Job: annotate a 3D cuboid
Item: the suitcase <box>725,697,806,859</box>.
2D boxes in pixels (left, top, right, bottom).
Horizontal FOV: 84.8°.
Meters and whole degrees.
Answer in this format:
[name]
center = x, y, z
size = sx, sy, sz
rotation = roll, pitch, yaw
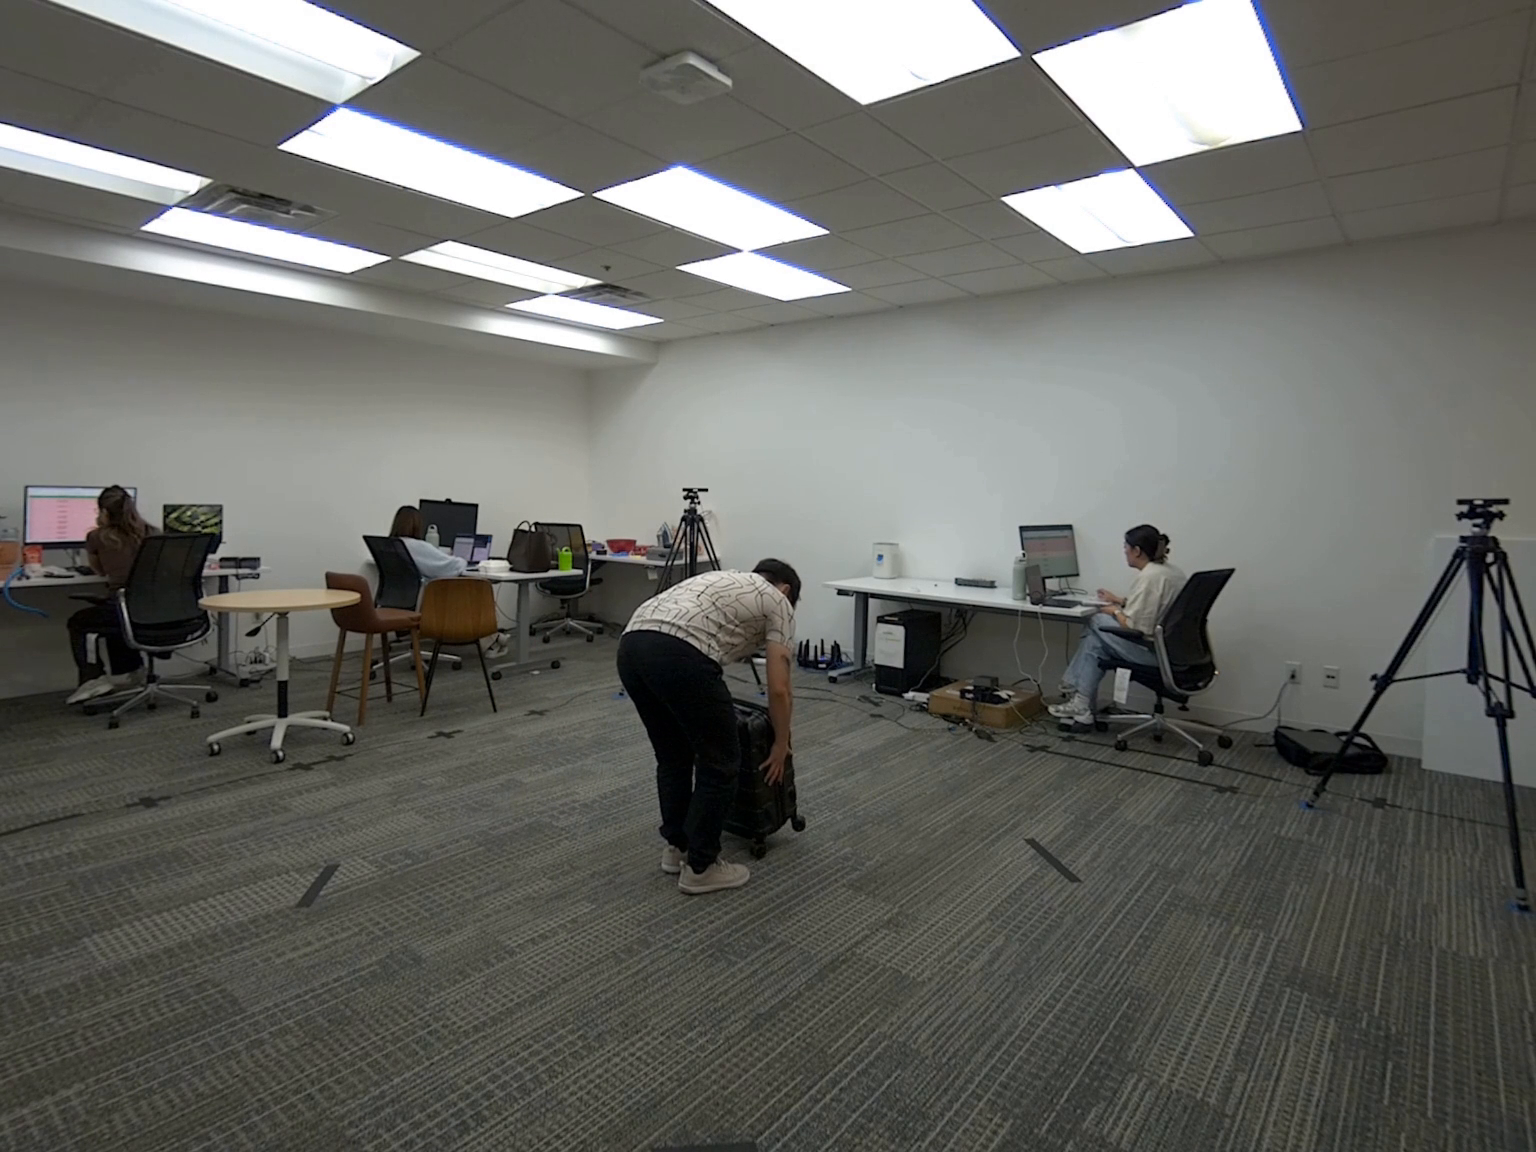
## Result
[suitcase]
center = -0.101, 0.741, 3.358
size = 0.388, 0.544, 0.242
rotation = 4, 13, 41
